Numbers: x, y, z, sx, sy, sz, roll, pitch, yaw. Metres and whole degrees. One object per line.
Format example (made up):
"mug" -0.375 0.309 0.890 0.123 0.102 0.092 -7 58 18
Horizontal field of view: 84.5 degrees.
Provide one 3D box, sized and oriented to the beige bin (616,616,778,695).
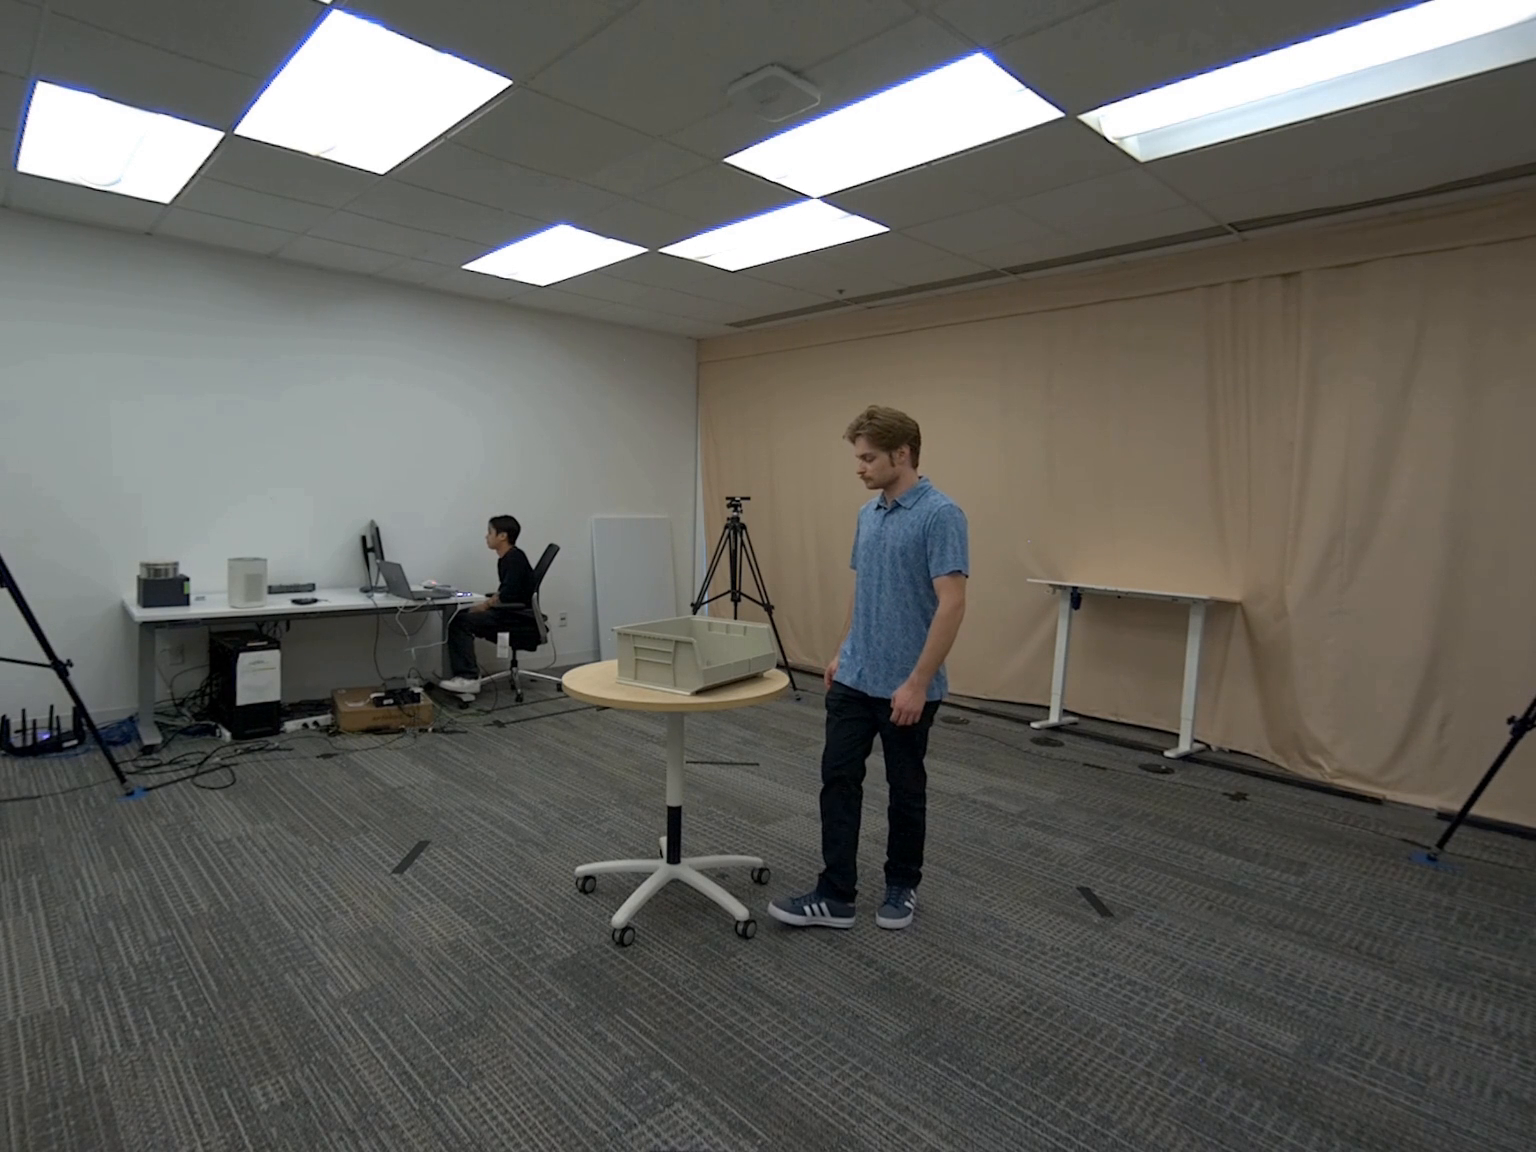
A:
"beige bin" -0.236 0.262 2.802 0.386 0.188 0.413 2 5 34
